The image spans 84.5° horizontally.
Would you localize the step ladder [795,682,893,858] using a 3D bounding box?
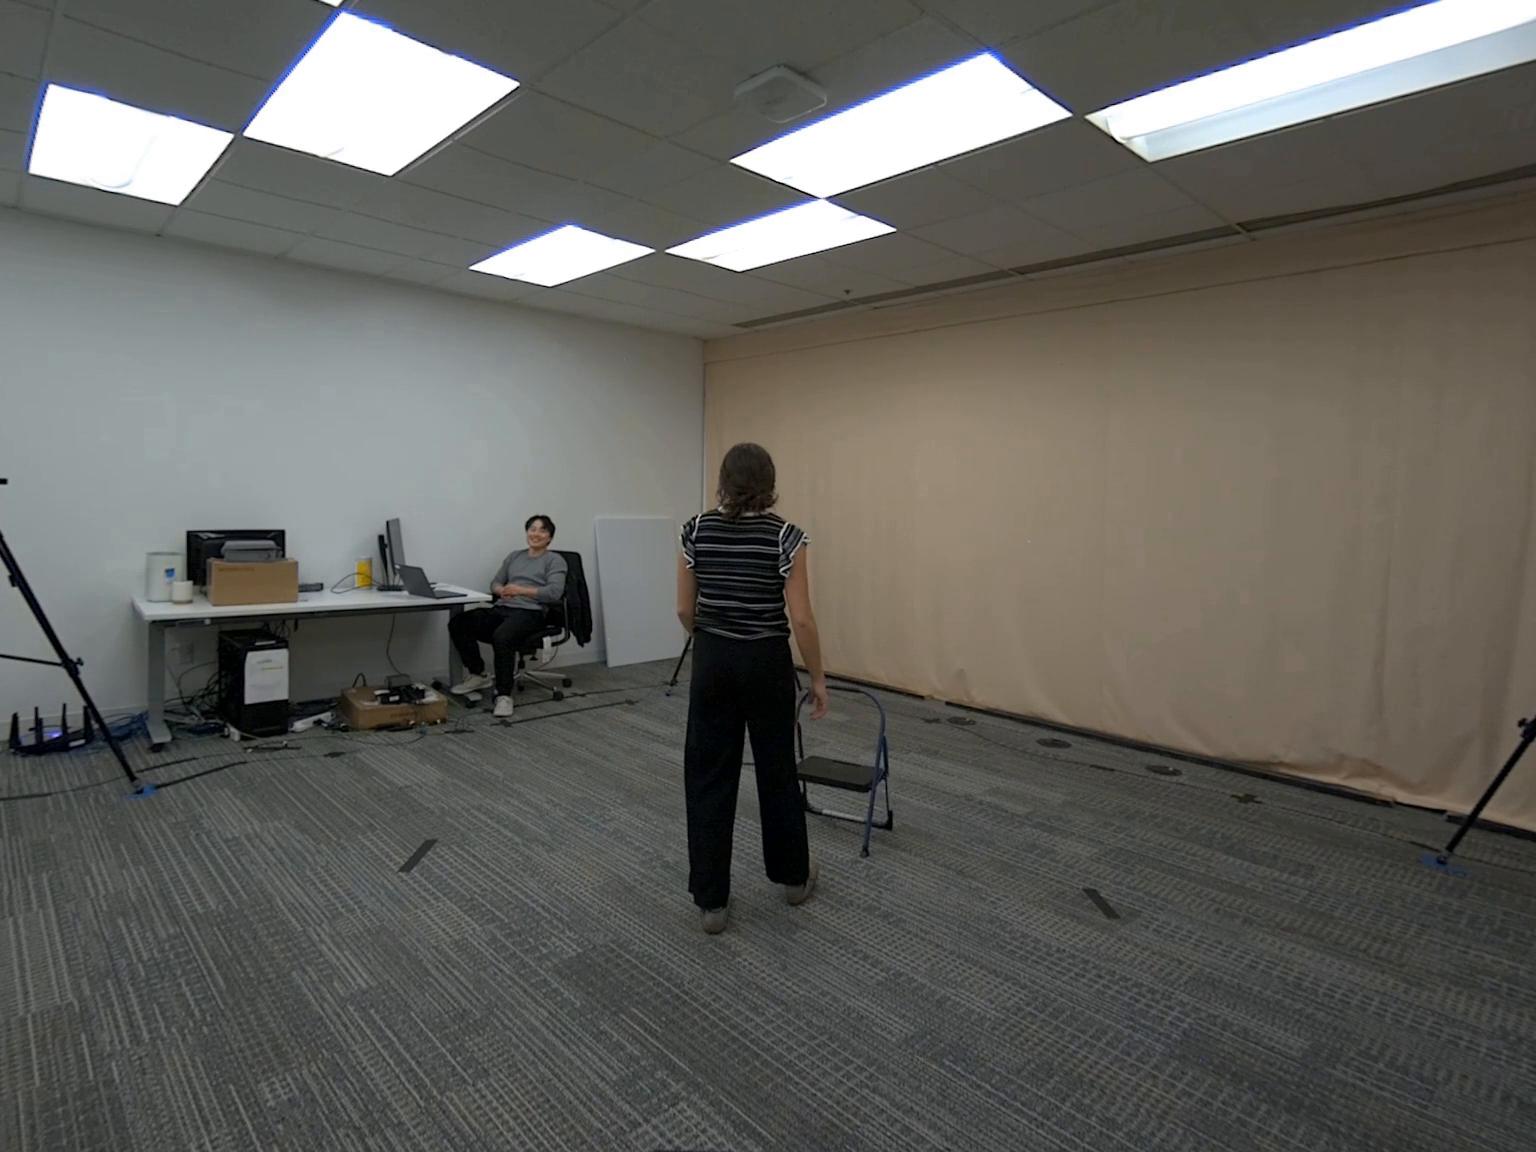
[{"bbox_3d":[0.278,0.777,3.534,0.440,0.605,0.343,4,4,28],"label":"step ladder"}]
